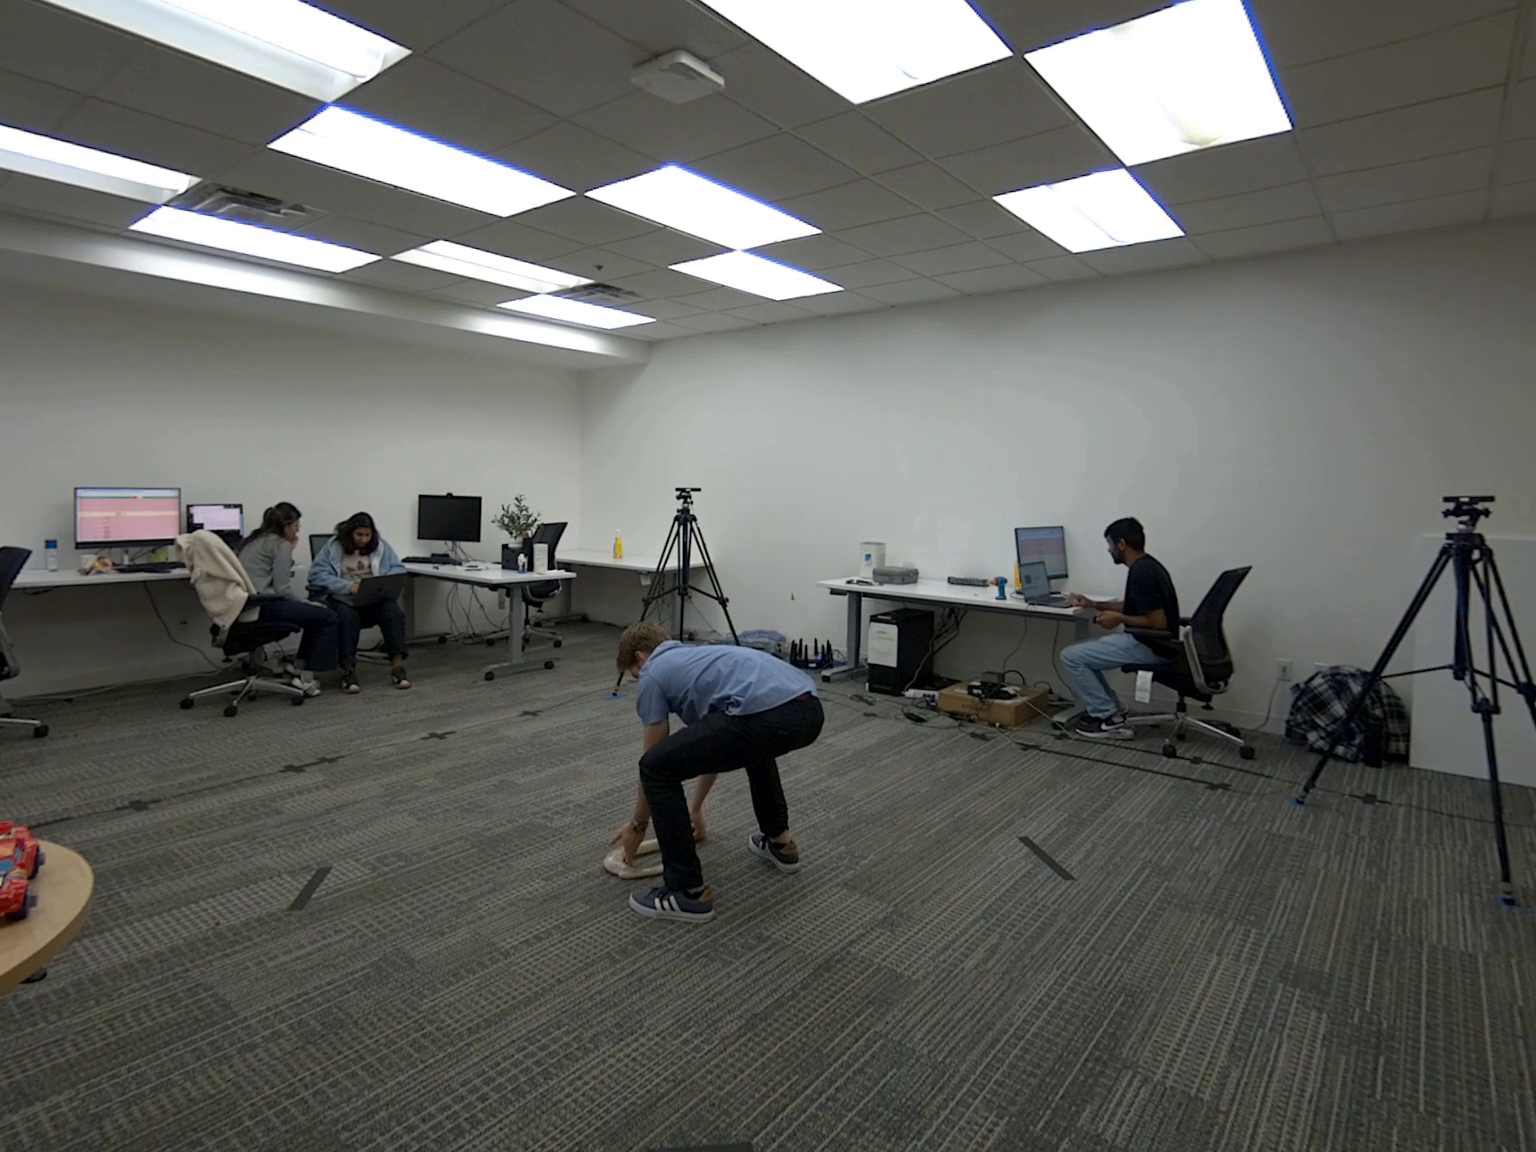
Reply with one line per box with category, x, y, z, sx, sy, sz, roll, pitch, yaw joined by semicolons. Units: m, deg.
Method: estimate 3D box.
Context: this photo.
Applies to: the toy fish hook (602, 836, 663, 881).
toy fish hook;-0.399;1.043;3.214;0.233;0.048;0.492;16;15;42
